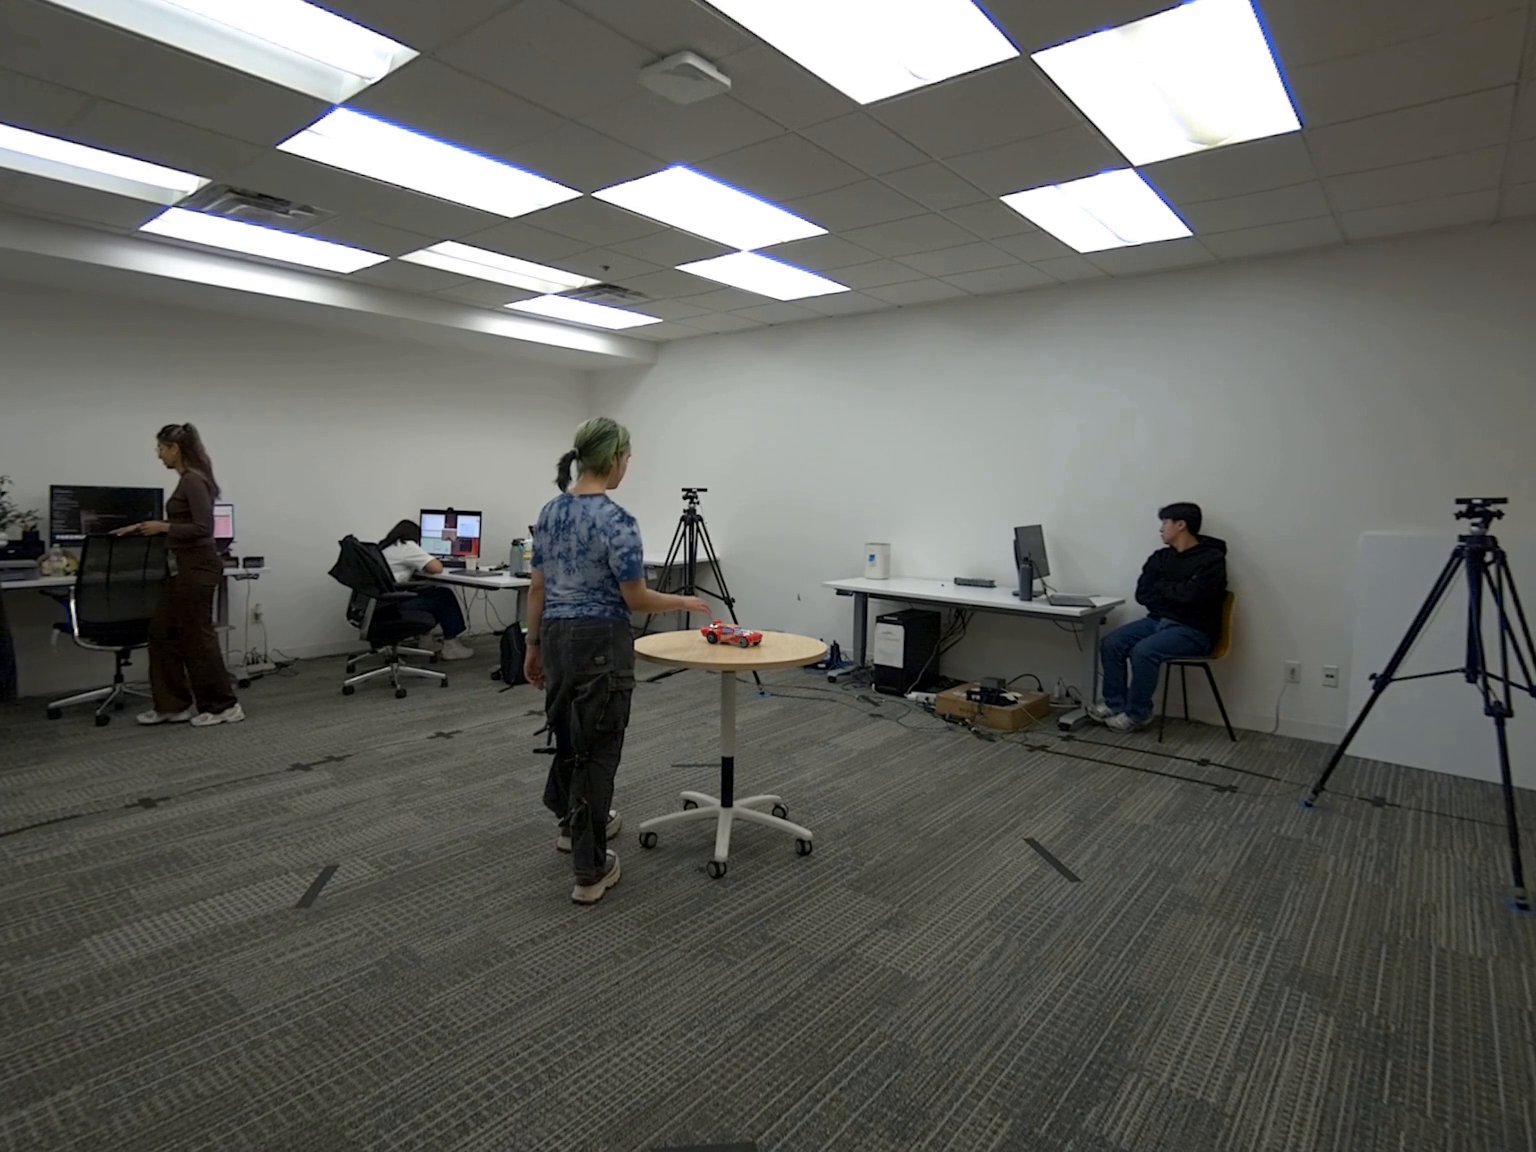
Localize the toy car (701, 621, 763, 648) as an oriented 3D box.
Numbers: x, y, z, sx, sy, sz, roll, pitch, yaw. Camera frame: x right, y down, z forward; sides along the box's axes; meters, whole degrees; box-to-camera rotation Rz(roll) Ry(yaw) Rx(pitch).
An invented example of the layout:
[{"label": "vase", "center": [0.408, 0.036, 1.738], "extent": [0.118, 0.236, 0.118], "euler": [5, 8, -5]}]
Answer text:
[{"label": "toy car", "center": [-0.161, 0.231, 3.363], "extent": [0.263, 0.082, 0.127], "euler": [16, 12, 32]}]
